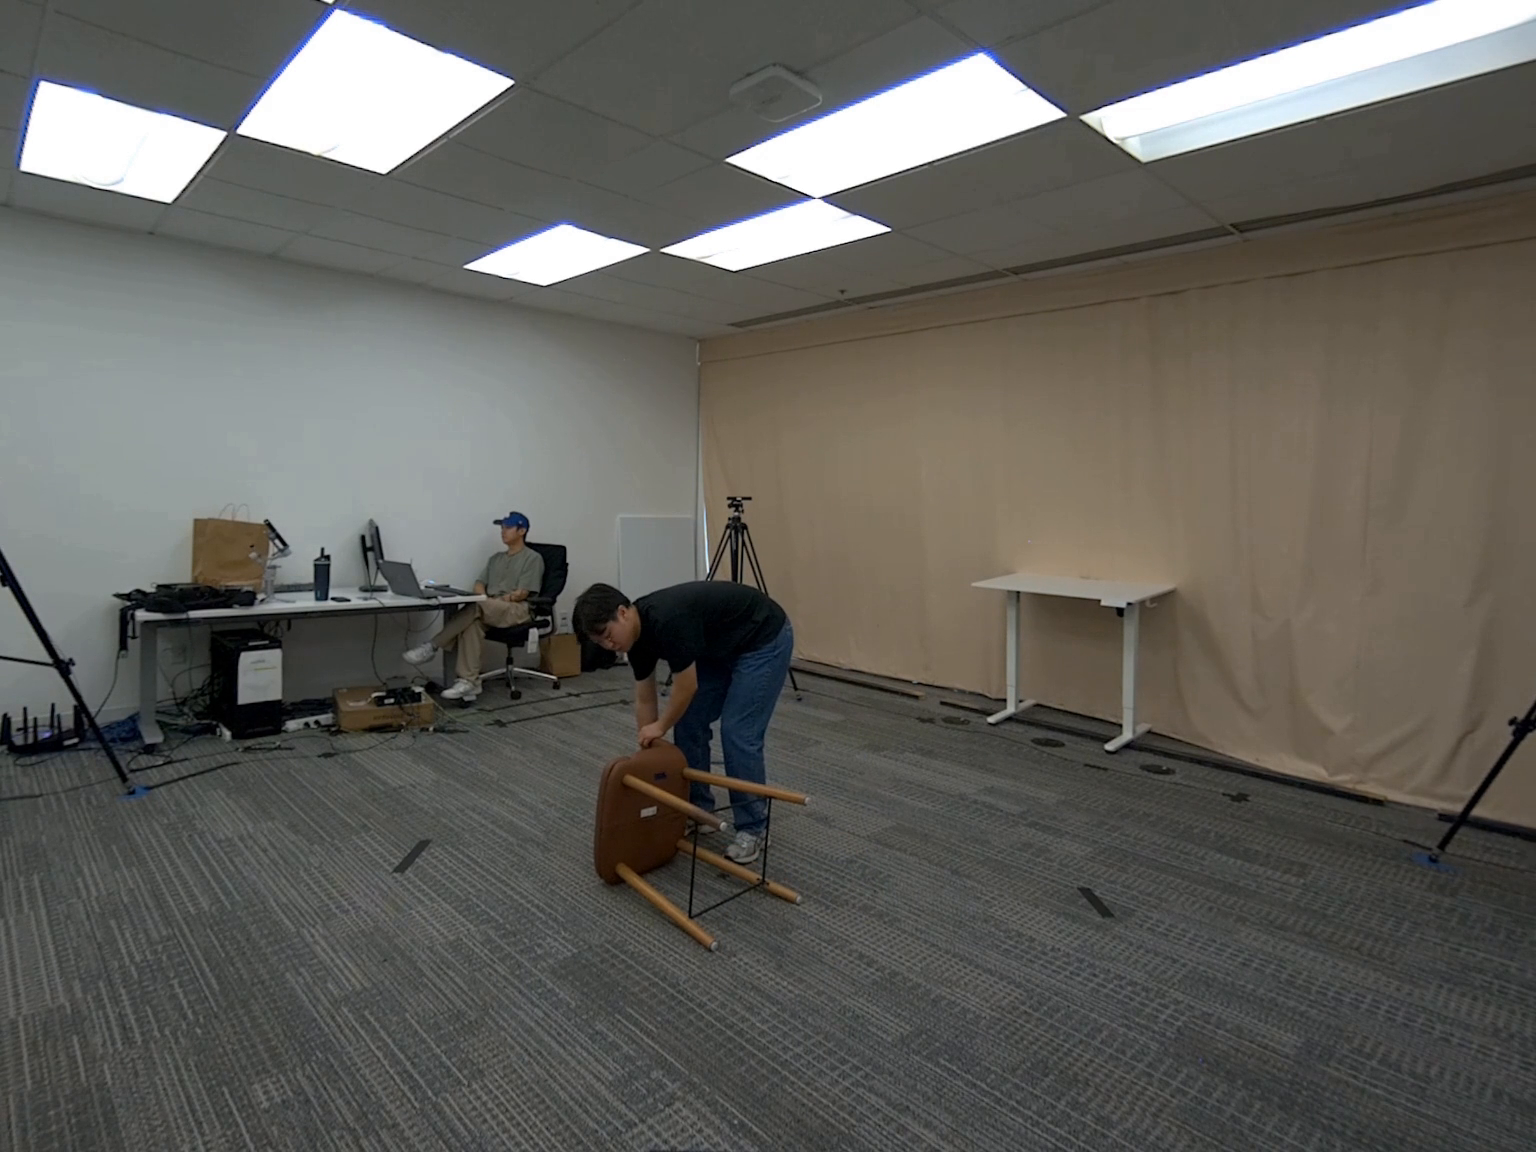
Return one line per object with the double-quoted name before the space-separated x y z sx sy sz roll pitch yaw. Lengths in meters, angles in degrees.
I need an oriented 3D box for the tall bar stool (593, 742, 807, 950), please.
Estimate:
"tall bar stool" -0.350 0.892 3.026 0.913 0.455 0.457 9 8 42
